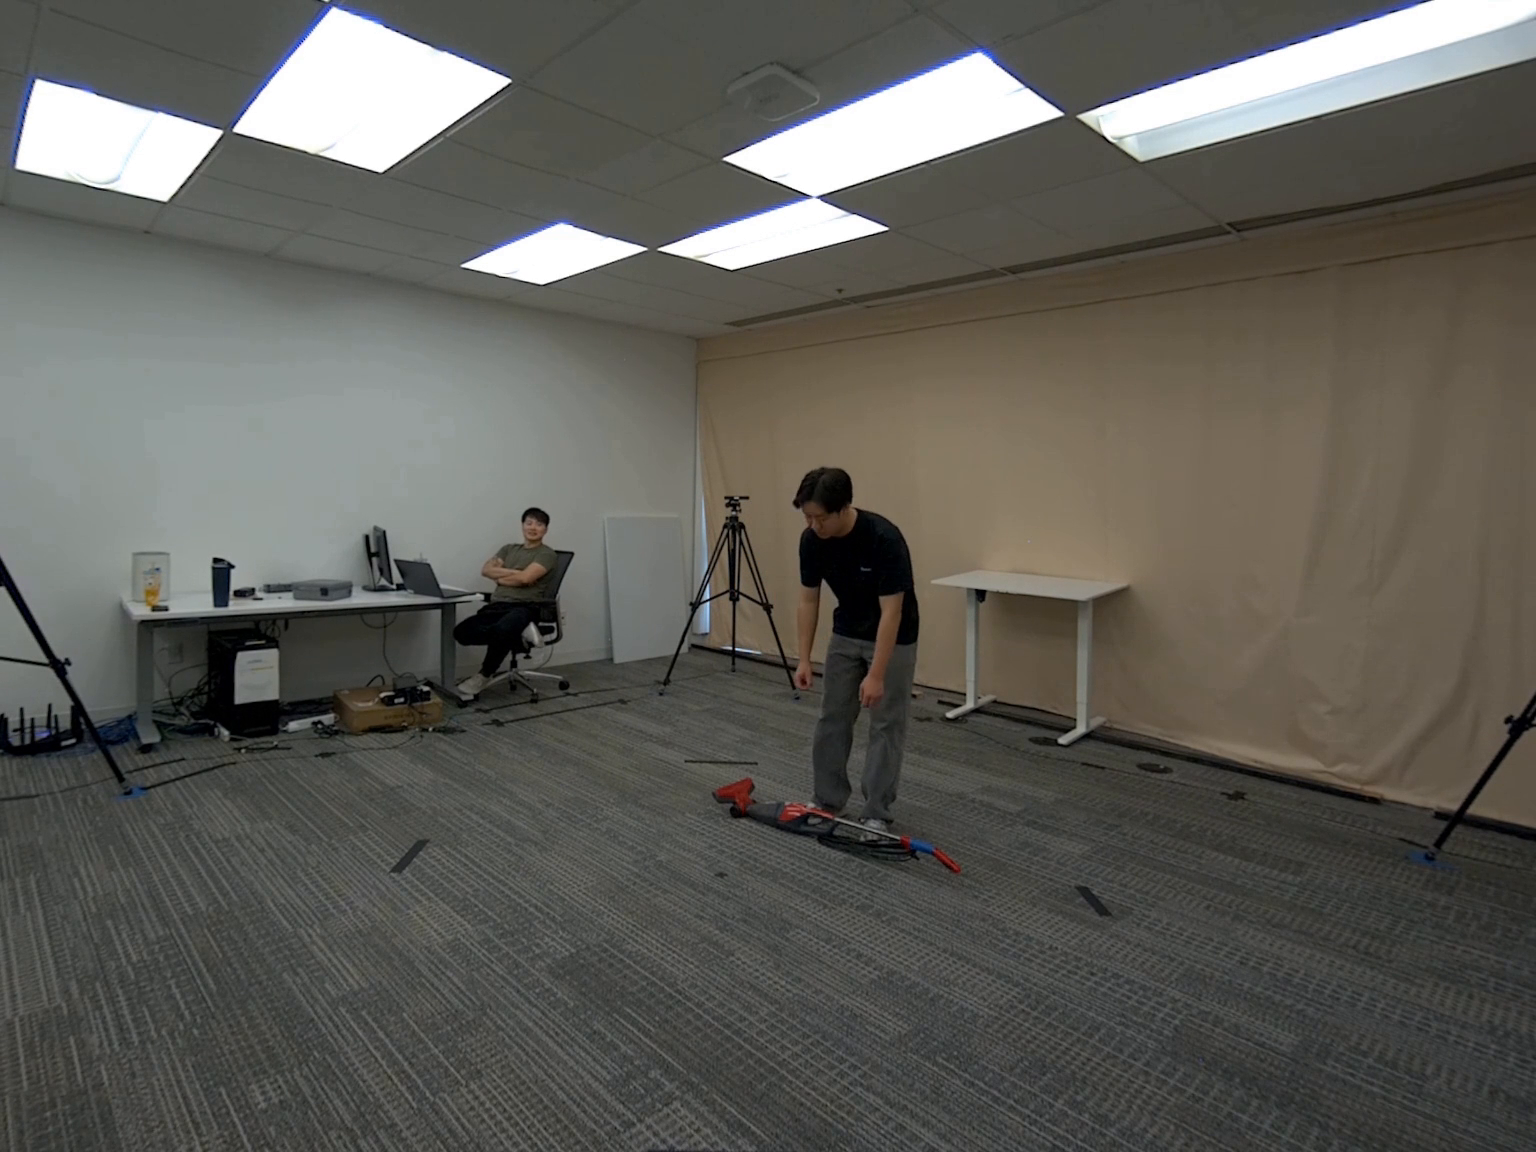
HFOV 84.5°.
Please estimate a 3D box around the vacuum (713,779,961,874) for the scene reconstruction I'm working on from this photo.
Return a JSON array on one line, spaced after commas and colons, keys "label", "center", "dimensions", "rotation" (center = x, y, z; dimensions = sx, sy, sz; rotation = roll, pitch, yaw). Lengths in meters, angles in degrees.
[{"label": "vacuum", "center": [0.258, 1.026, 3.396], "dimensions": [1.076, 0.144, 0.246], "rotation": [6, 3, 40]}]
